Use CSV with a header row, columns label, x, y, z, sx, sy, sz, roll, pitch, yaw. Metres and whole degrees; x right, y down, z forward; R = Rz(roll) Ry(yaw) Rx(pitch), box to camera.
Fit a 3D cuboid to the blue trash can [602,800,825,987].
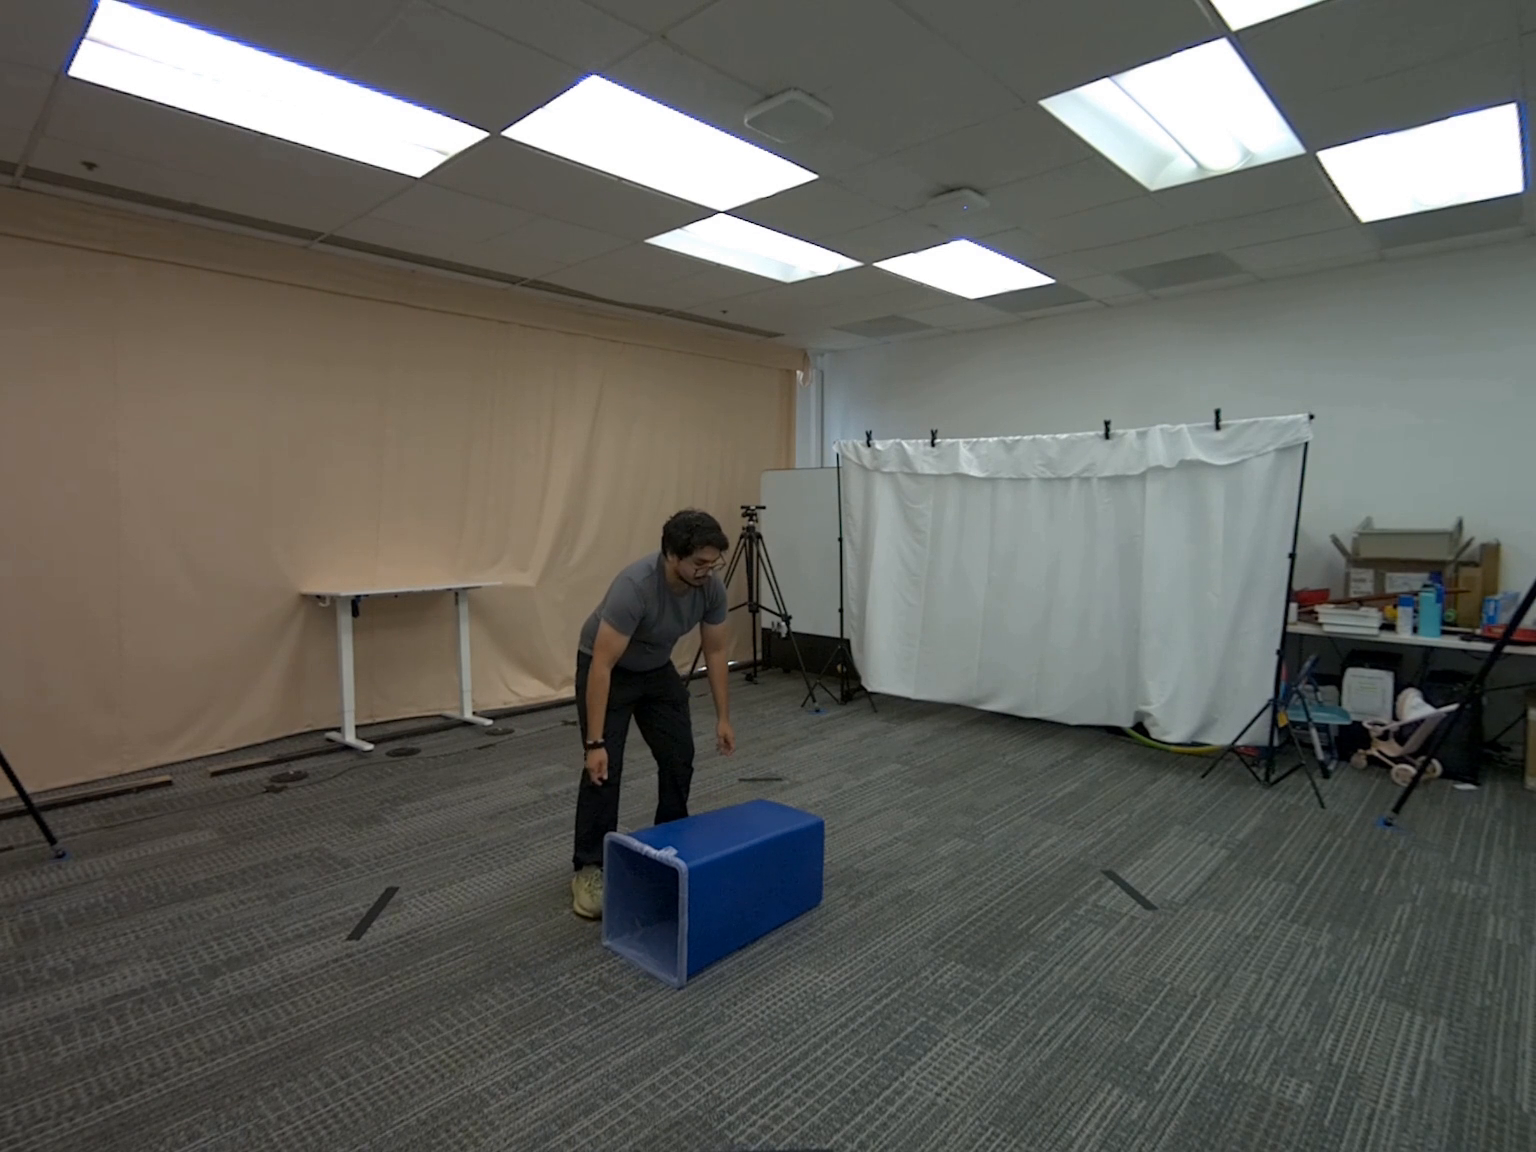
label,x,y,z,sx,sy,sz,roll,pitch,yaw
blue trash can,-0.138,0.991,2.781,0.386,0.377,0.691,2,3,43
